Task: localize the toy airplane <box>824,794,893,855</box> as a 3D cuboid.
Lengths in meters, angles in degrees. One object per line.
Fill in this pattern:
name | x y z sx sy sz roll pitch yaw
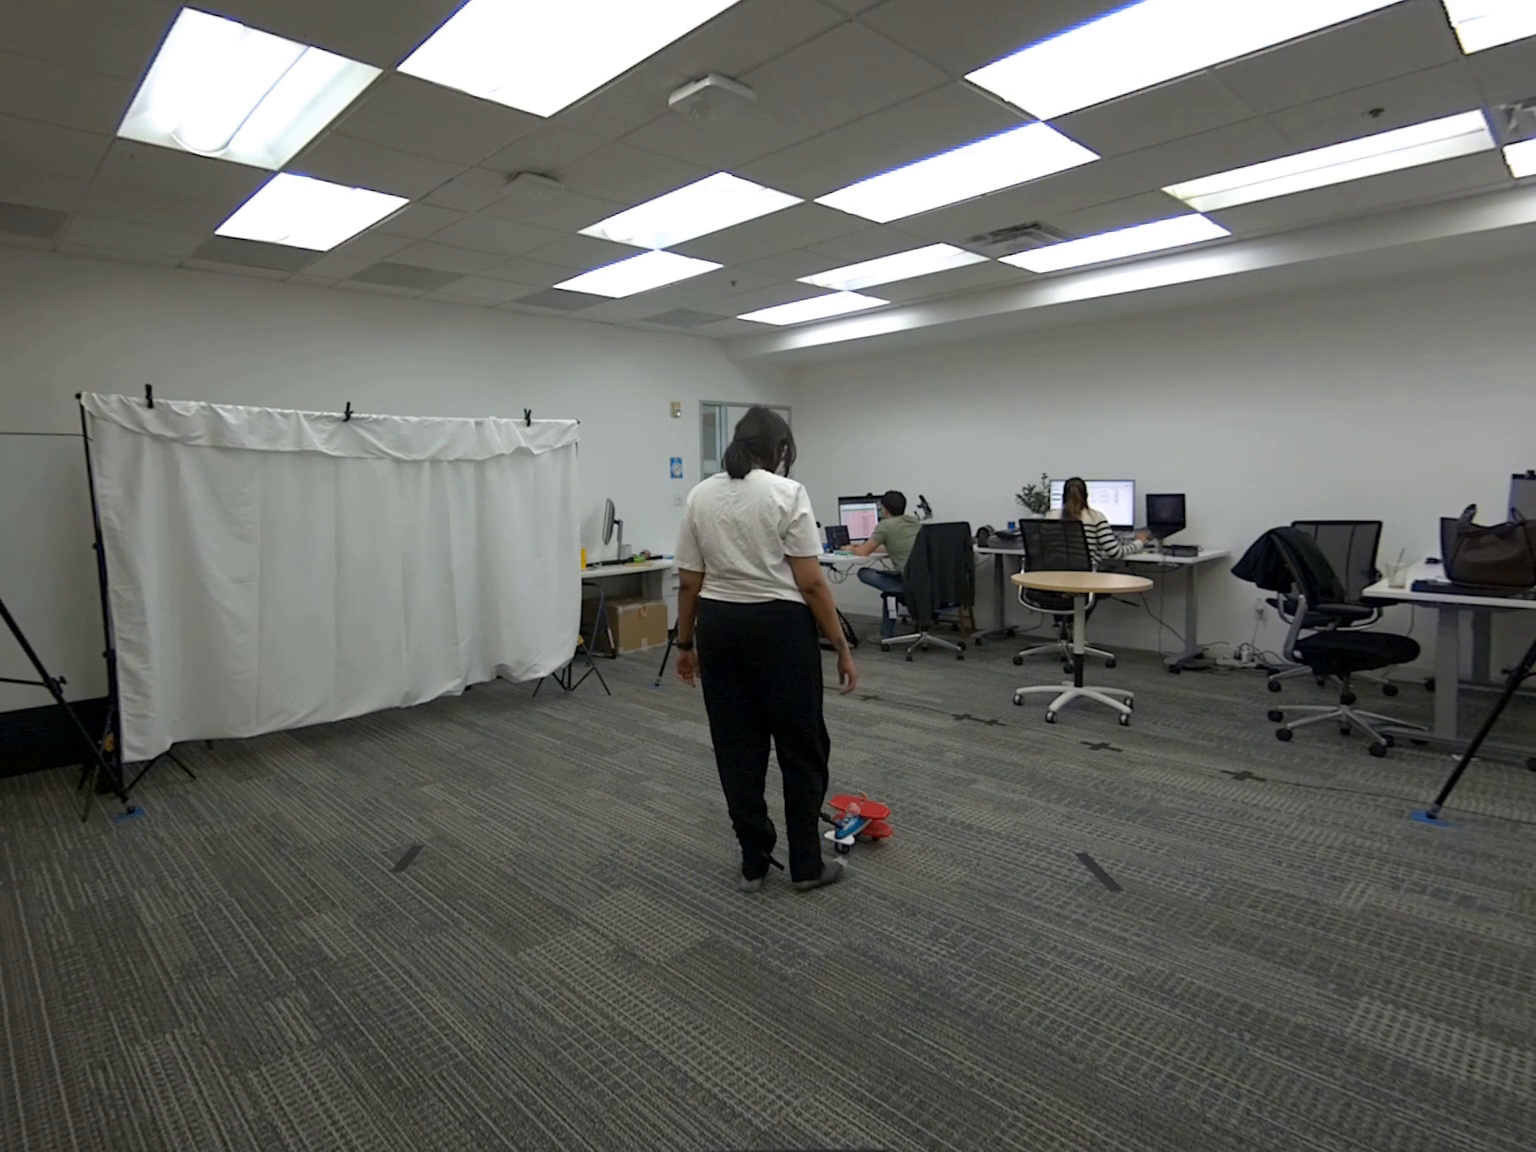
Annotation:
toy airplane | 0.349 0.946 3.251 0.254 0.156 0.257 1 5 13
